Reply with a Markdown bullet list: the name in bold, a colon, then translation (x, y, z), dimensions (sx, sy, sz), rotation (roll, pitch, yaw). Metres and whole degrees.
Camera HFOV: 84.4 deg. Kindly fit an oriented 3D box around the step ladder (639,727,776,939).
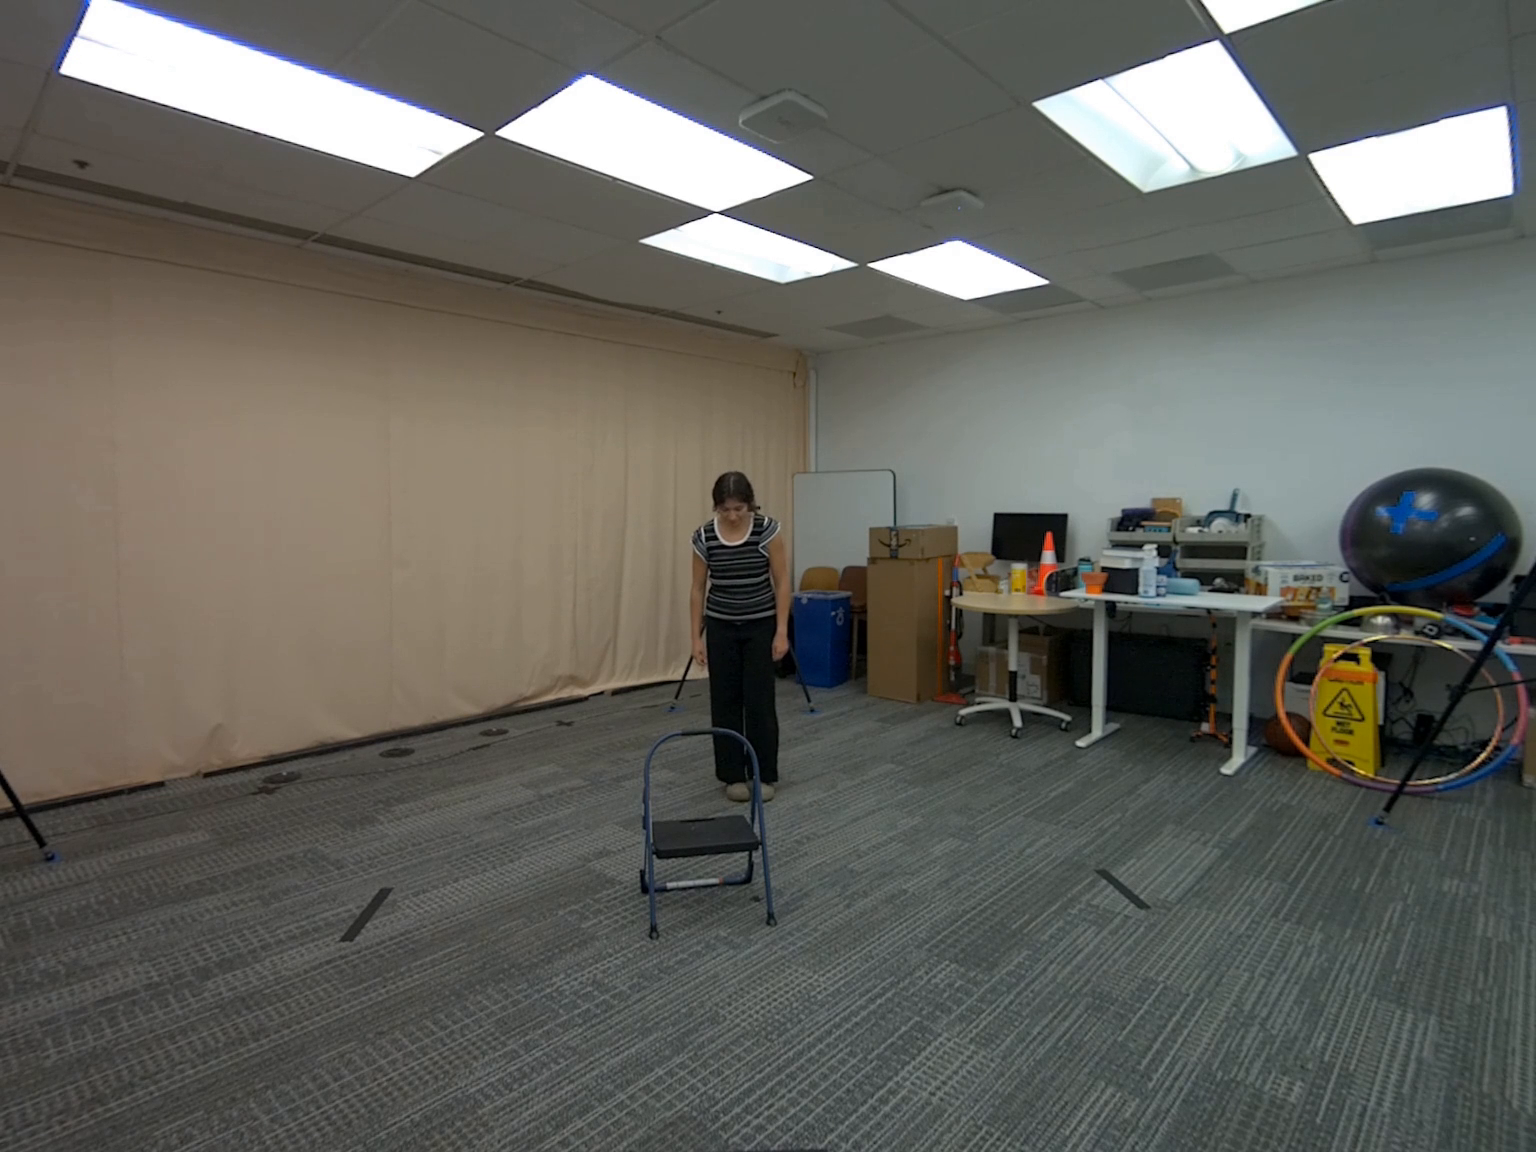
- **step ladder**: translation (-0.219, 0.846, 2.914), dimensions (0.425, 0.605, 0.355), rotation (-1, 3, -14)
